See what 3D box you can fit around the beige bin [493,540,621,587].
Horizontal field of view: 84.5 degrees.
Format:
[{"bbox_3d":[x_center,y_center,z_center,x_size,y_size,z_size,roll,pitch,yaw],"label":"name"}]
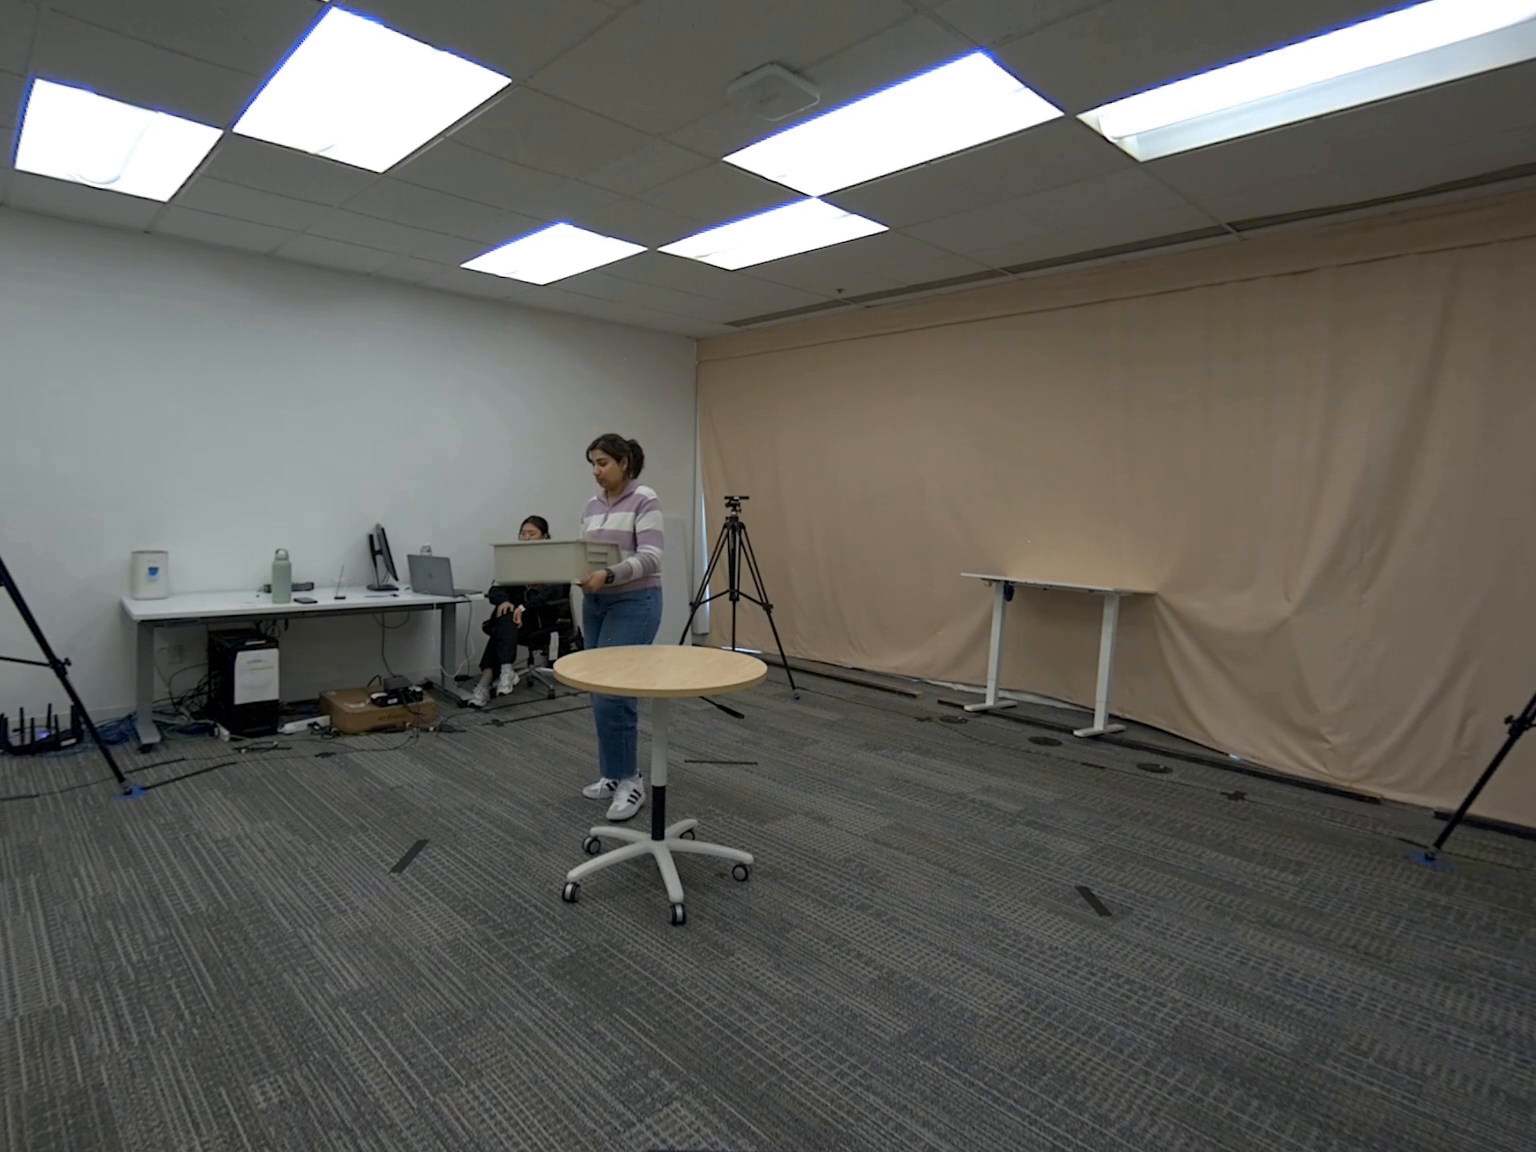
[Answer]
[{"bbox_3d":[-0.903,-0.057,3.552,0.428,0.189,0.372,1,1,19],"label":"beige bin"}]
